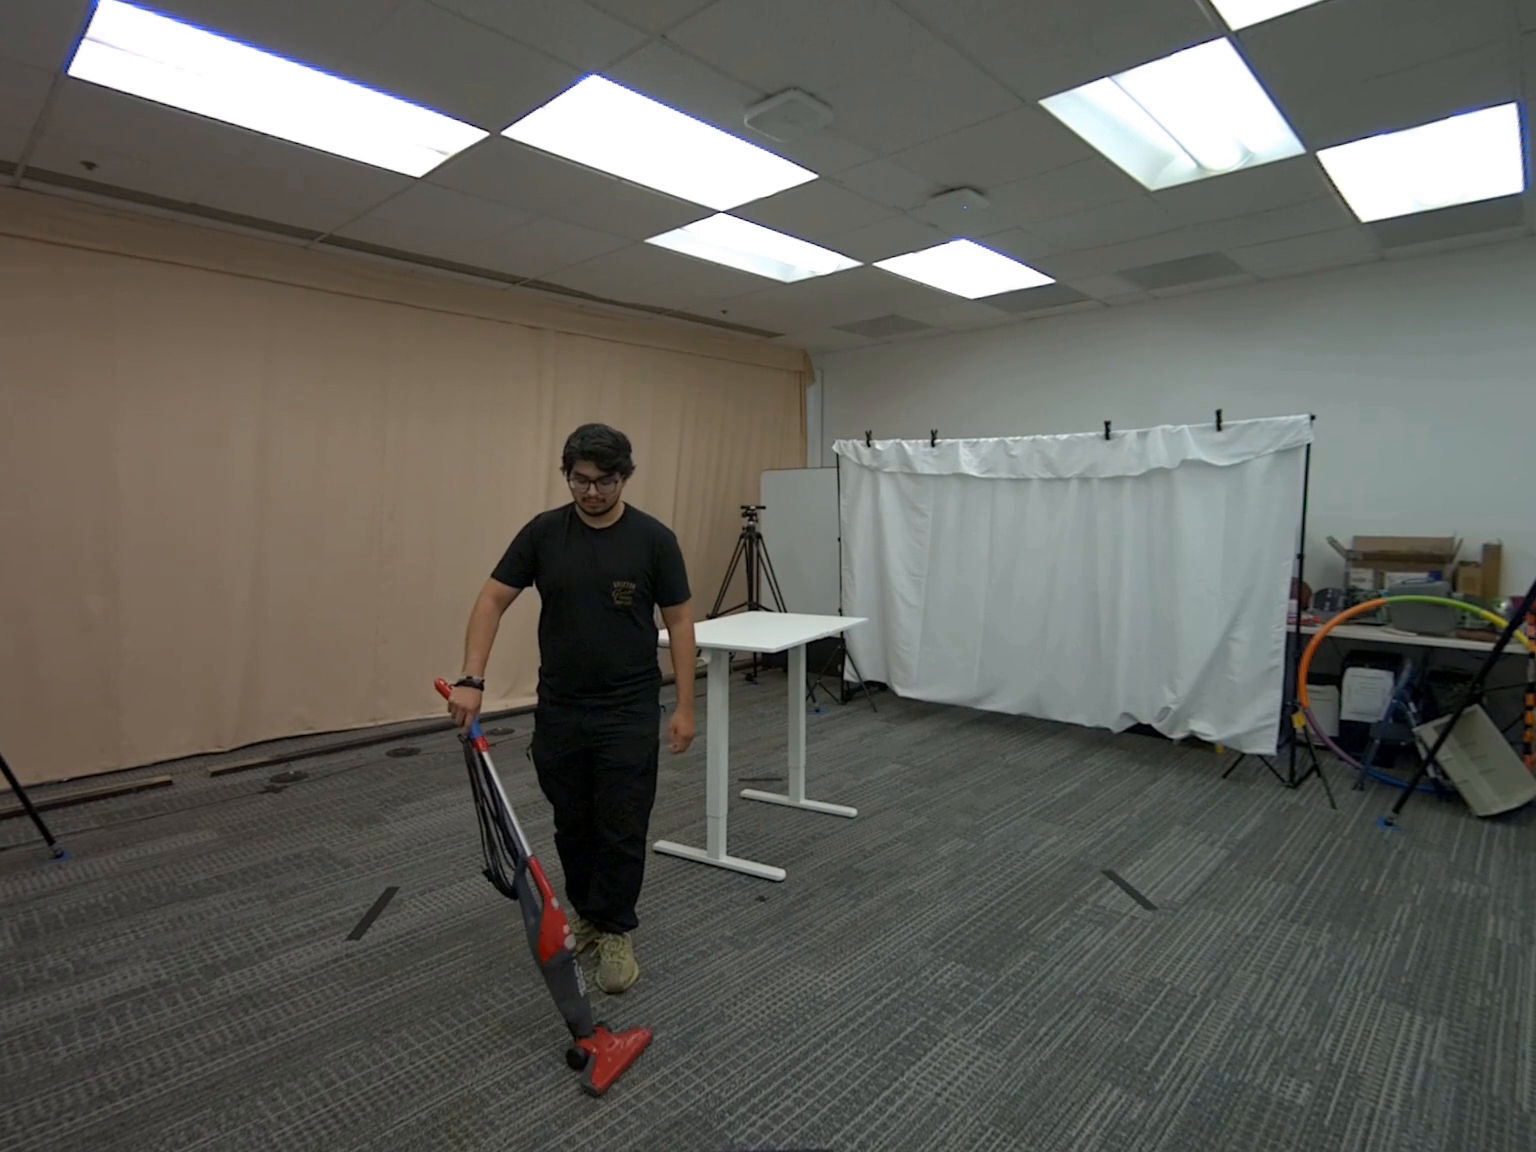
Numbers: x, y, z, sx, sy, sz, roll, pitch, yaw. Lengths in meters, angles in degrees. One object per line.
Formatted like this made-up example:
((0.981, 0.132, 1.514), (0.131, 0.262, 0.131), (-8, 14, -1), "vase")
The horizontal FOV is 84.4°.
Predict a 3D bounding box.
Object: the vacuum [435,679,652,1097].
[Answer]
((-0.649, 0.750, 2.221), (0.146, 1.062, 0.246), (-34, -12, 25), "vacuum")
